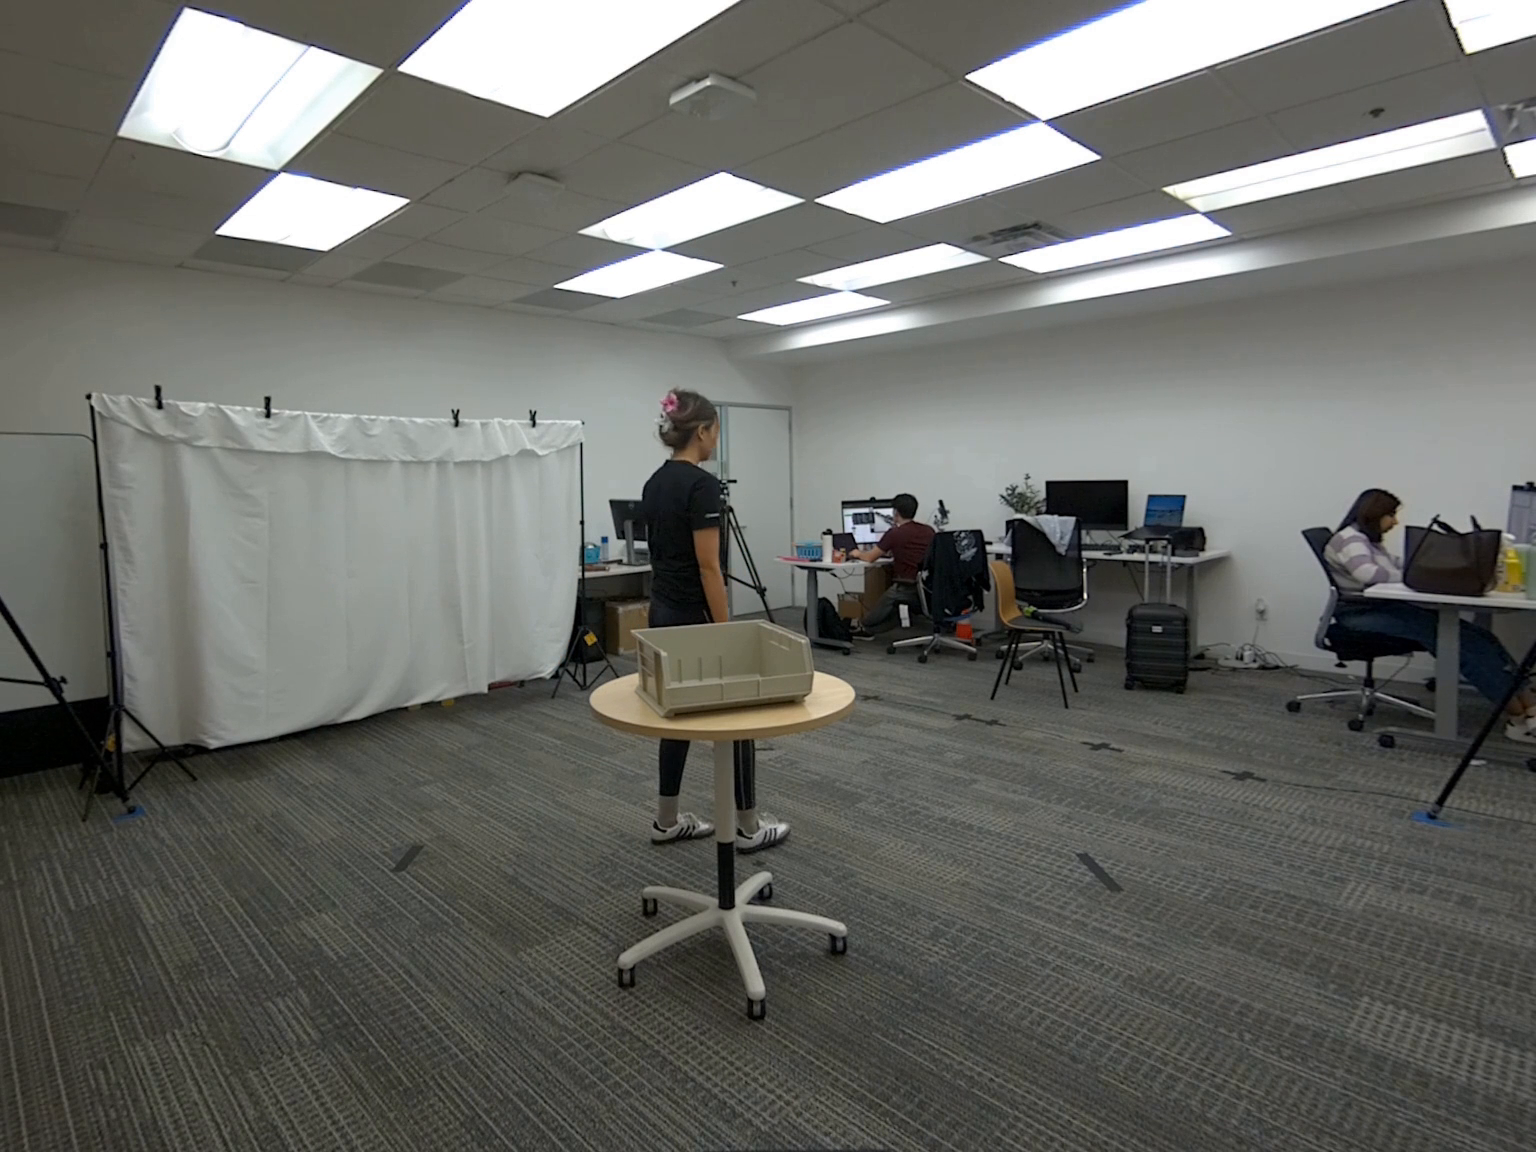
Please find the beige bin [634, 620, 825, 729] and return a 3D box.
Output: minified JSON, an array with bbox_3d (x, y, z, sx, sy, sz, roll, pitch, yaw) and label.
[{"bbox_3d":[-0.121,0.260,2.410,0.415,0.188,0.385,-4,6,-20],"label":"beige bin"}]
